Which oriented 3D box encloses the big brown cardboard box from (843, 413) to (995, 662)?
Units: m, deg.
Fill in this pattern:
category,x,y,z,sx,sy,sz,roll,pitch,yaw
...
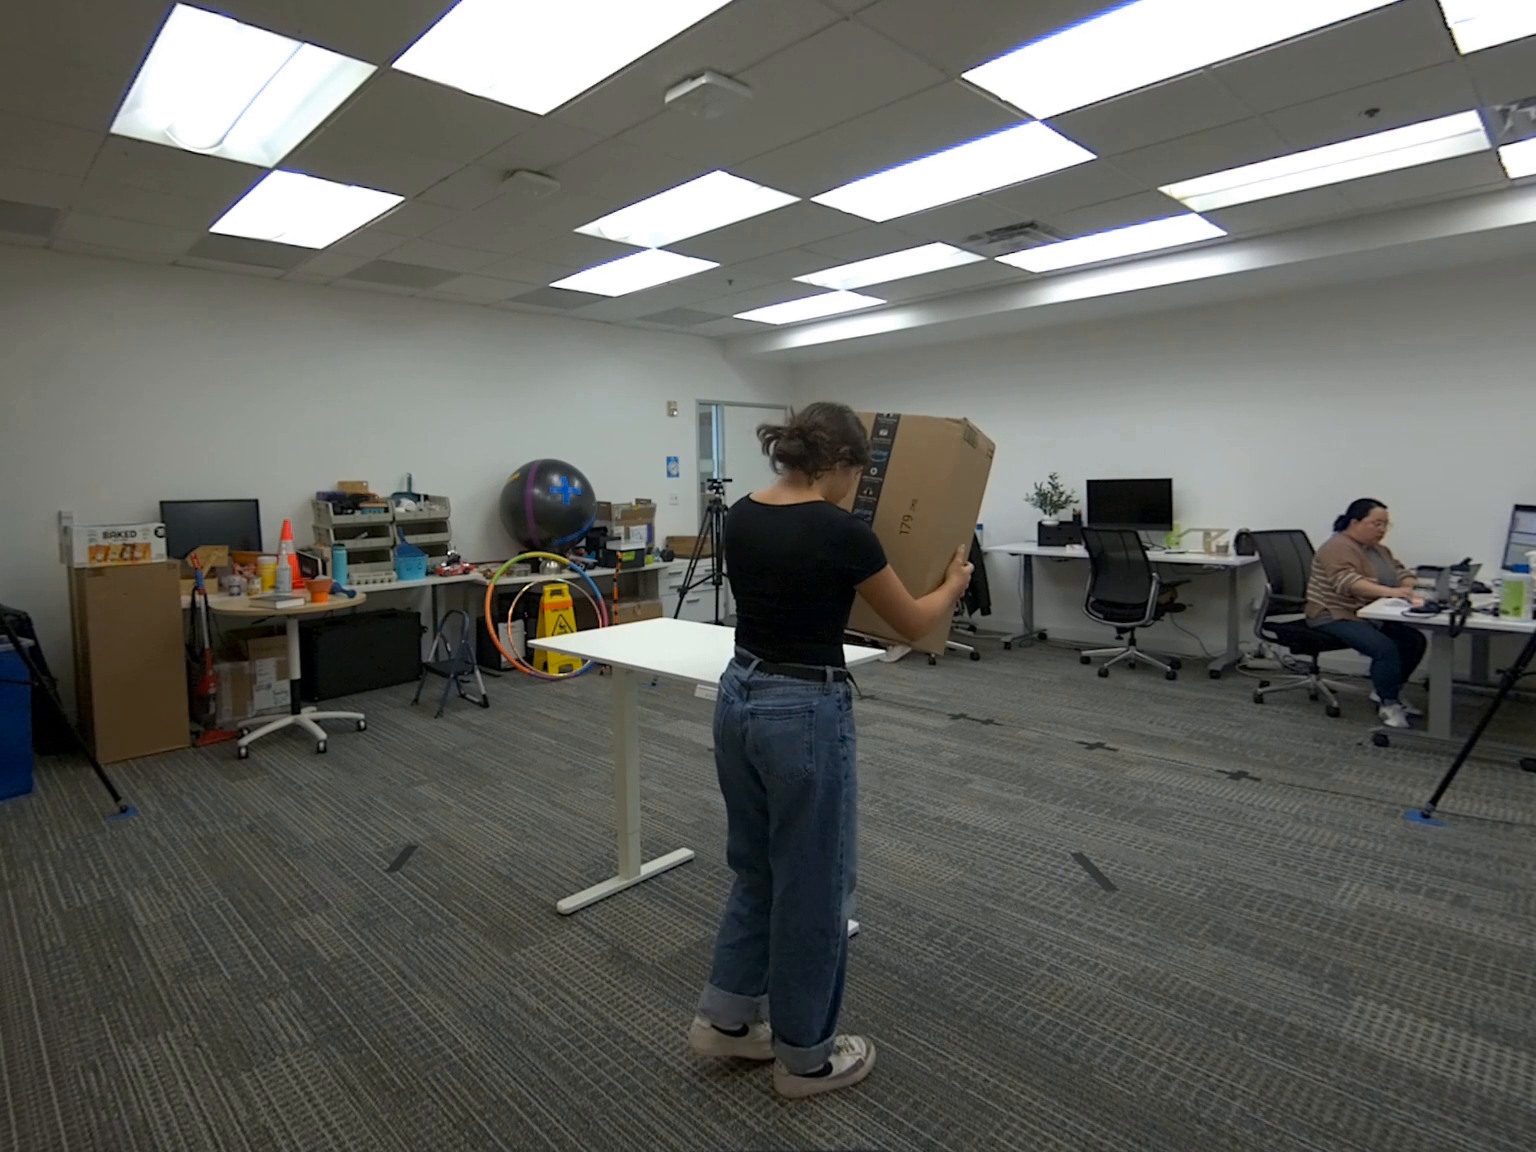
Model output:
category,x,y,z,sx,sy,sz,roll,pitch,yaw
big brown cardboard box,0.306,-0.127,2.231,0.431,0.591,0.225,11,-7,36
